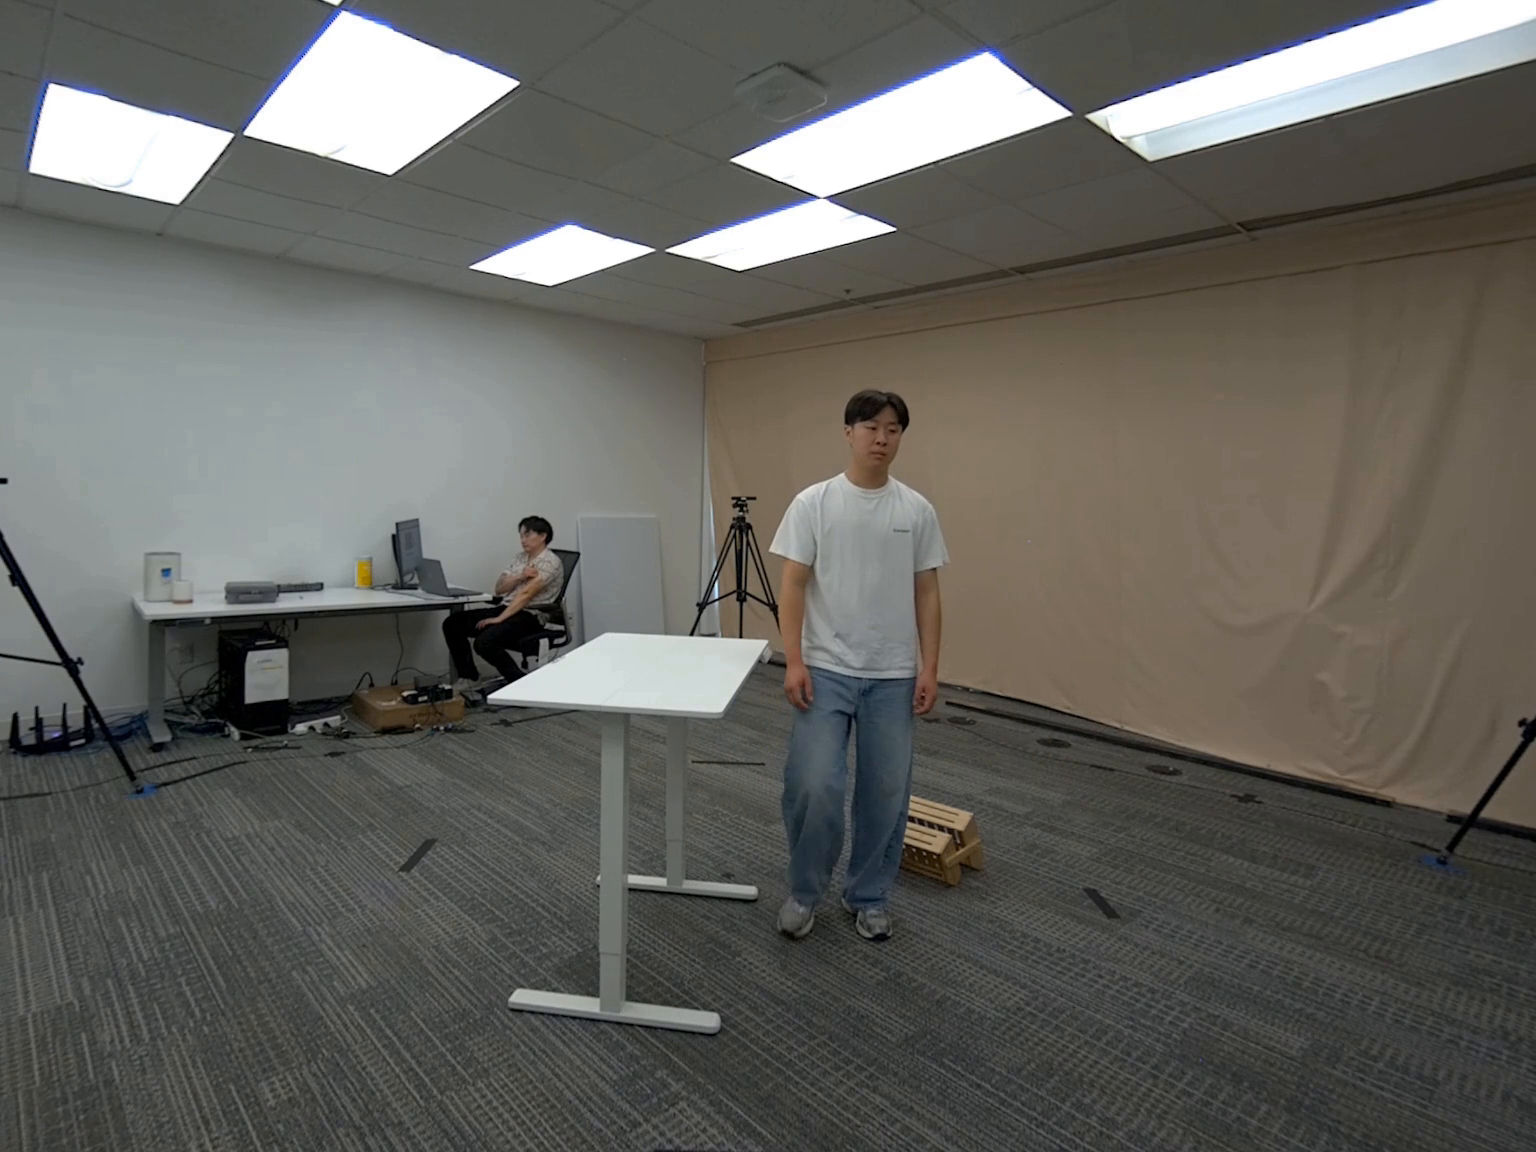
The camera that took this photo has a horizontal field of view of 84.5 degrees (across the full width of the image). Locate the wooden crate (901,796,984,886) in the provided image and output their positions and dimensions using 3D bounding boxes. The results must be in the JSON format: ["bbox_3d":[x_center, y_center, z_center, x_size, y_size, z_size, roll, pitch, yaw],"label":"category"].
[{"bbox_3d":[0.595,1.029,3.193,0.332,0.296,0.272,5,32,40],"label":"wooden crate"}]
